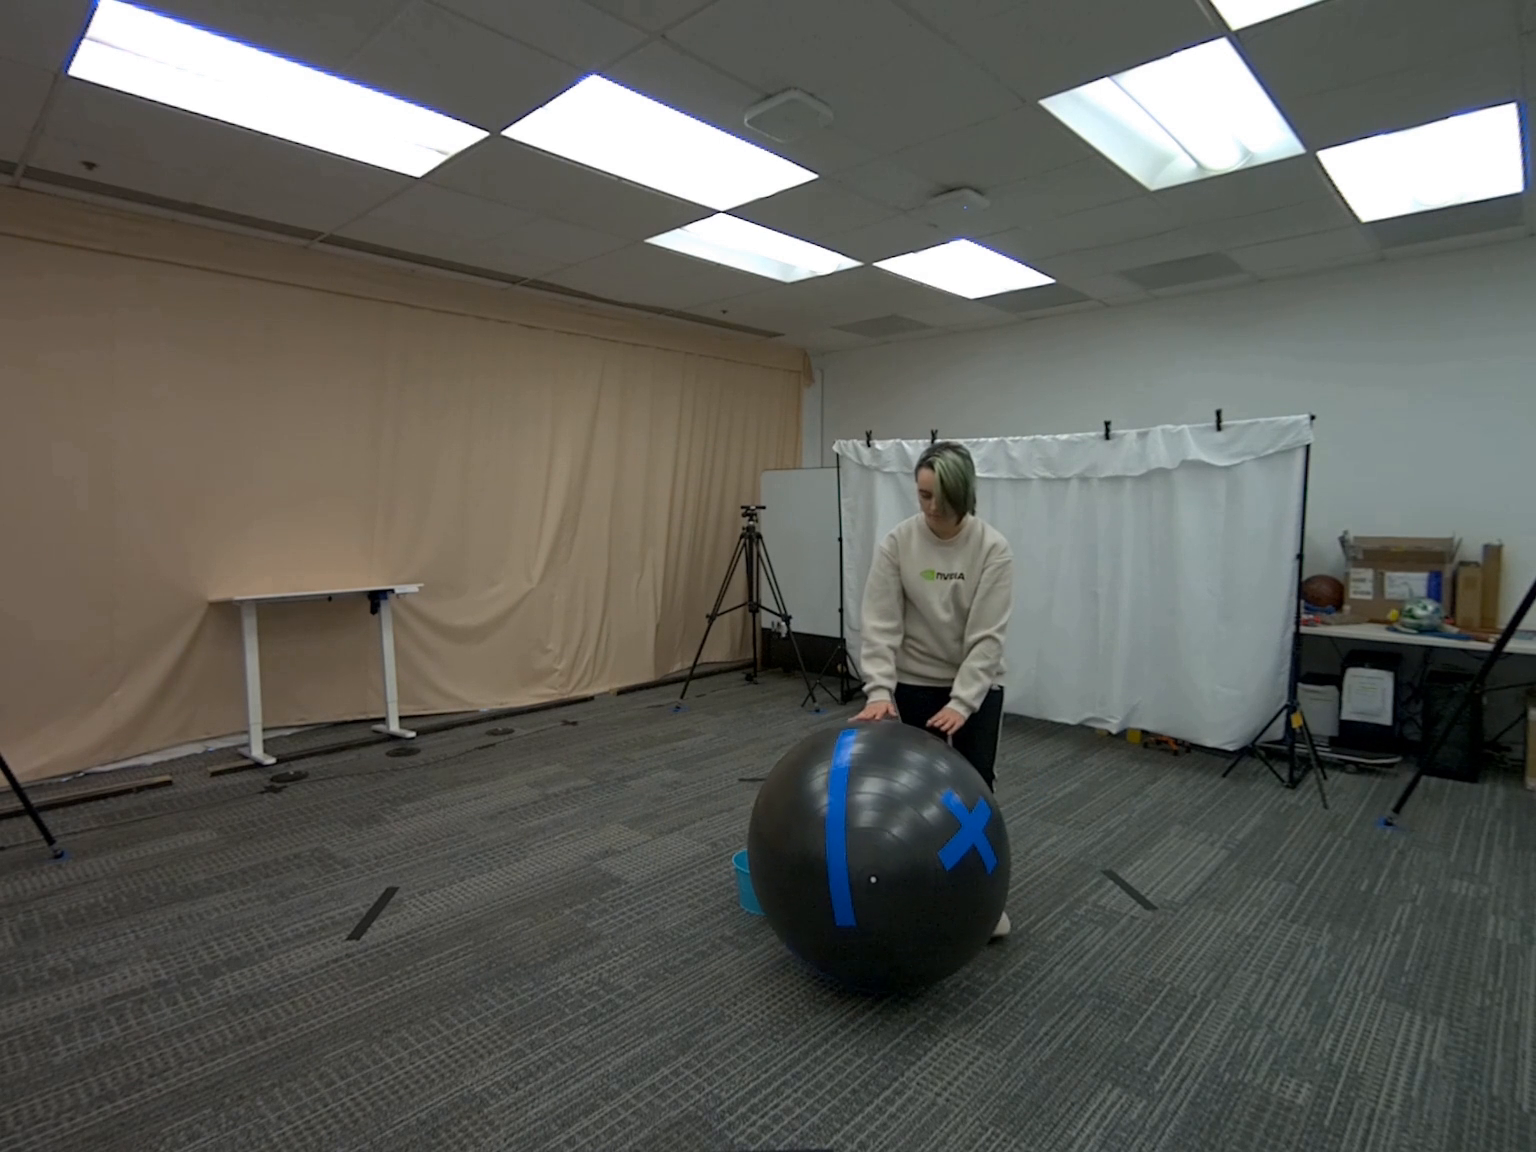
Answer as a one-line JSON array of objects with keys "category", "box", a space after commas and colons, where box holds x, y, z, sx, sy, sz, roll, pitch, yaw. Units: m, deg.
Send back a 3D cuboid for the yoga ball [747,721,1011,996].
[{"category": "yoga ball", "box": [0.327, 0.820, 2.494, 0.757, 0.756, 0.760, 0, 4, -2]}]
